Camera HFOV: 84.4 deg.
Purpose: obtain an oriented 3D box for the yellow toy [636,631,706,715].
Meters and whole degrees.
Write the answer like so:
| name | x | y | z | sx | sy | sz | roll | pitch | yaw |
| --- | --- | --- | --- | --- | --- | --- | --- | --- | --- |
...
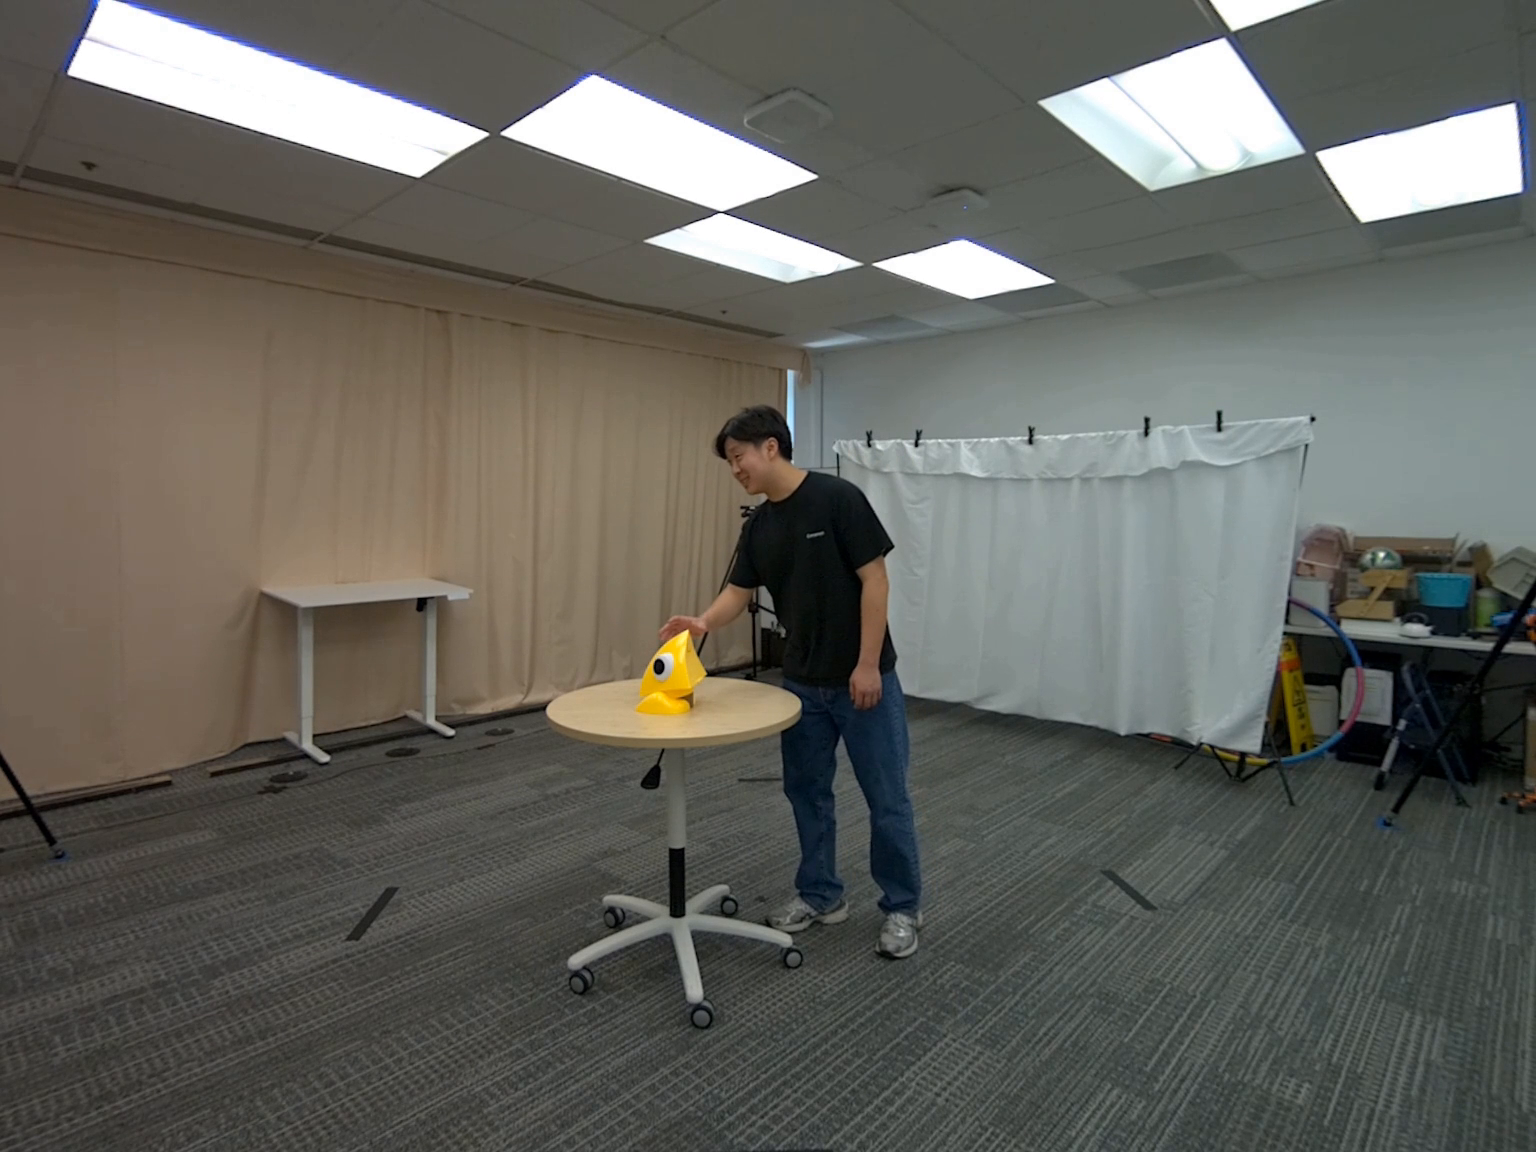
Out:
| name | x | y | z | sx | sy | sz | roll | pitch | yaw |
| --- | --- | --- | --- | --- | --- | --- | --- | --- | --- |
| yellow toy | -0.294 | 0.277 | 2.507 | 0.196 | 0.230 | 0.202 | 0 | 3 | 11 |
